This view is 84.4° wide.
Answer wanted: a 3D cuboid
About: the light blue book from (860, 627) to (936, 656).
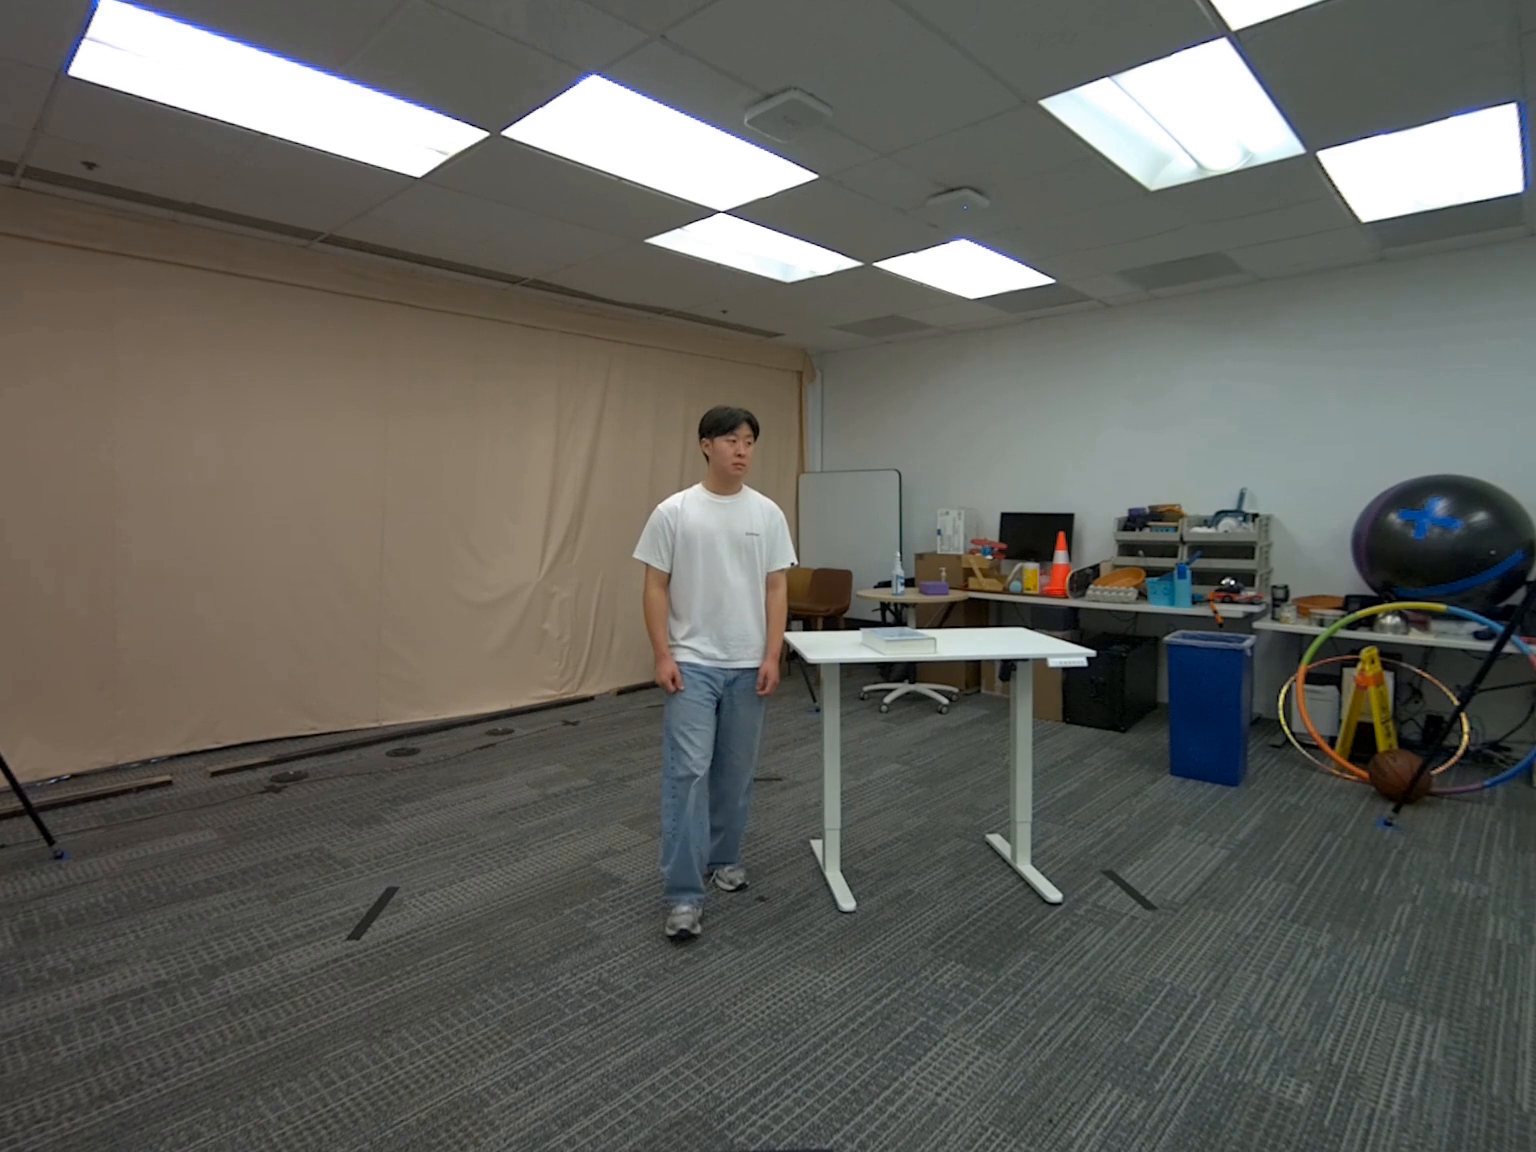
[{"bbox_3d":[0.467,0.236,2.983,0.189,0.059,0.264,-2,4,-11],"label":"light blue book"}]
